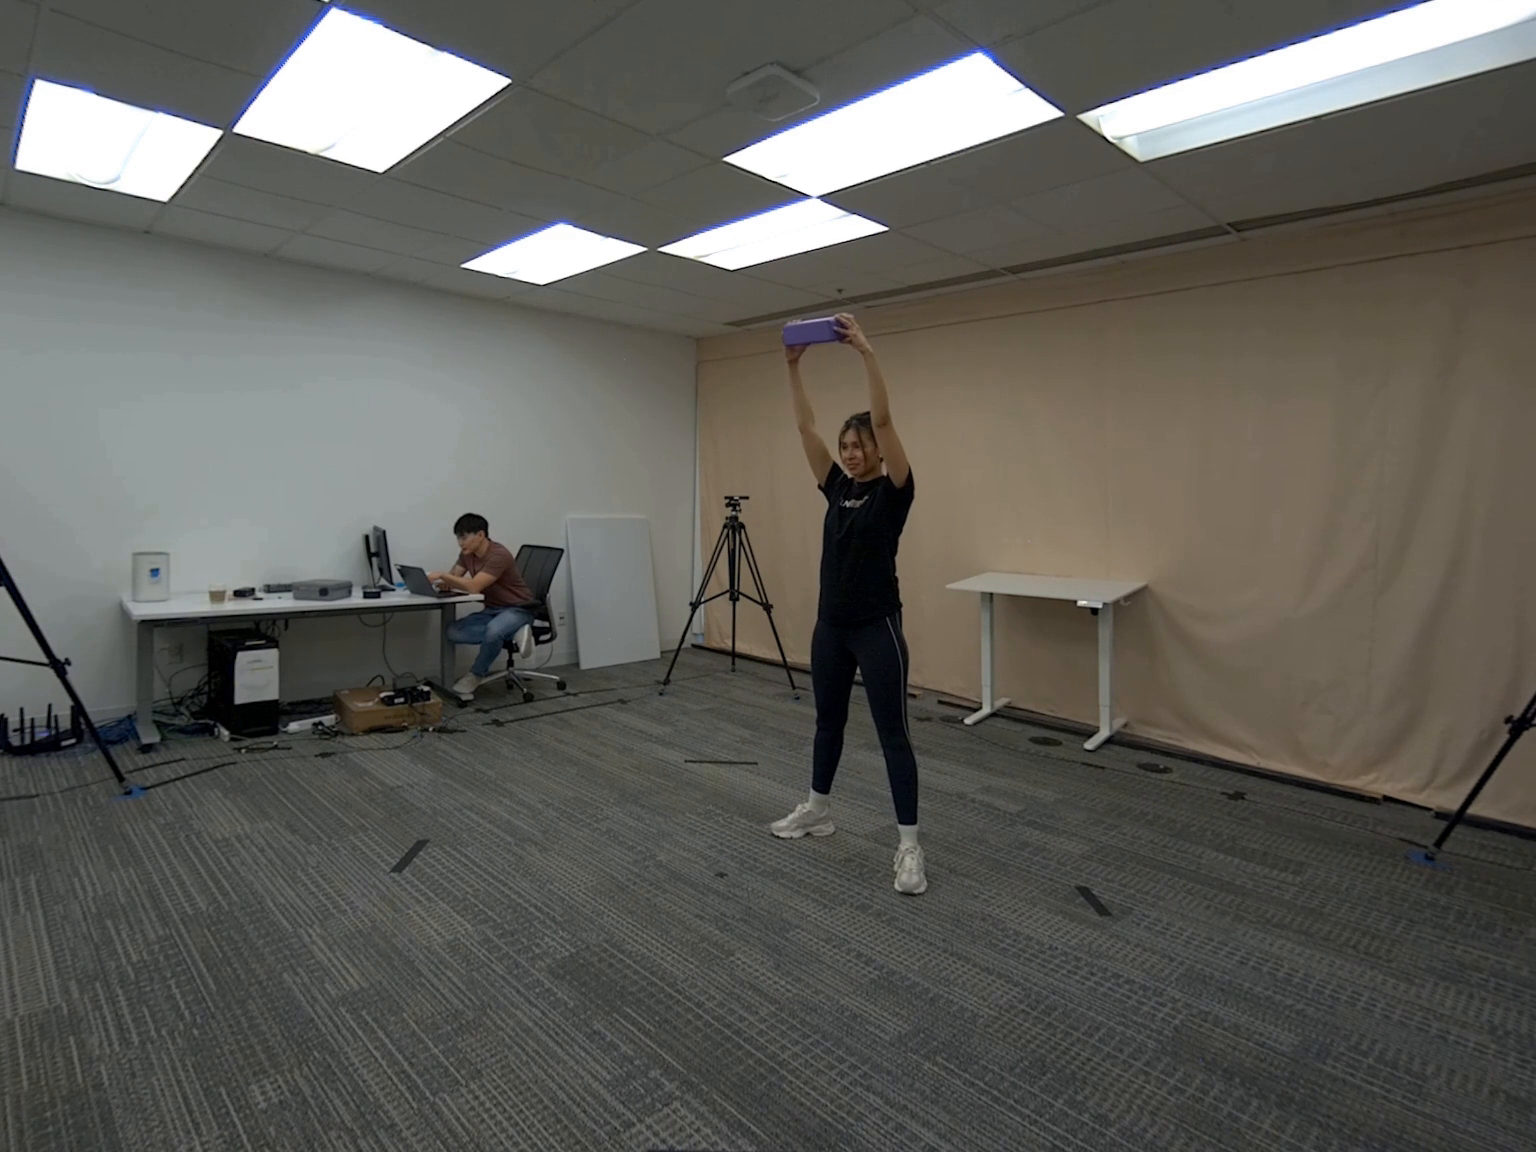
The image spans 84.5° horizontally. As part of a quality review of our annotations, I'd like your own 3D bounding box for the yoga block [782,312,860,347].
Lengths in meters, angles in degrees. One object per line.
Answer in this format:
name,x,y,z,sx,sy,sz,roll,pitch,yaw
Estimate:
yoga block,0.187,-0.881,3.019,0.147,0.075,0.235,-25,23,-38
